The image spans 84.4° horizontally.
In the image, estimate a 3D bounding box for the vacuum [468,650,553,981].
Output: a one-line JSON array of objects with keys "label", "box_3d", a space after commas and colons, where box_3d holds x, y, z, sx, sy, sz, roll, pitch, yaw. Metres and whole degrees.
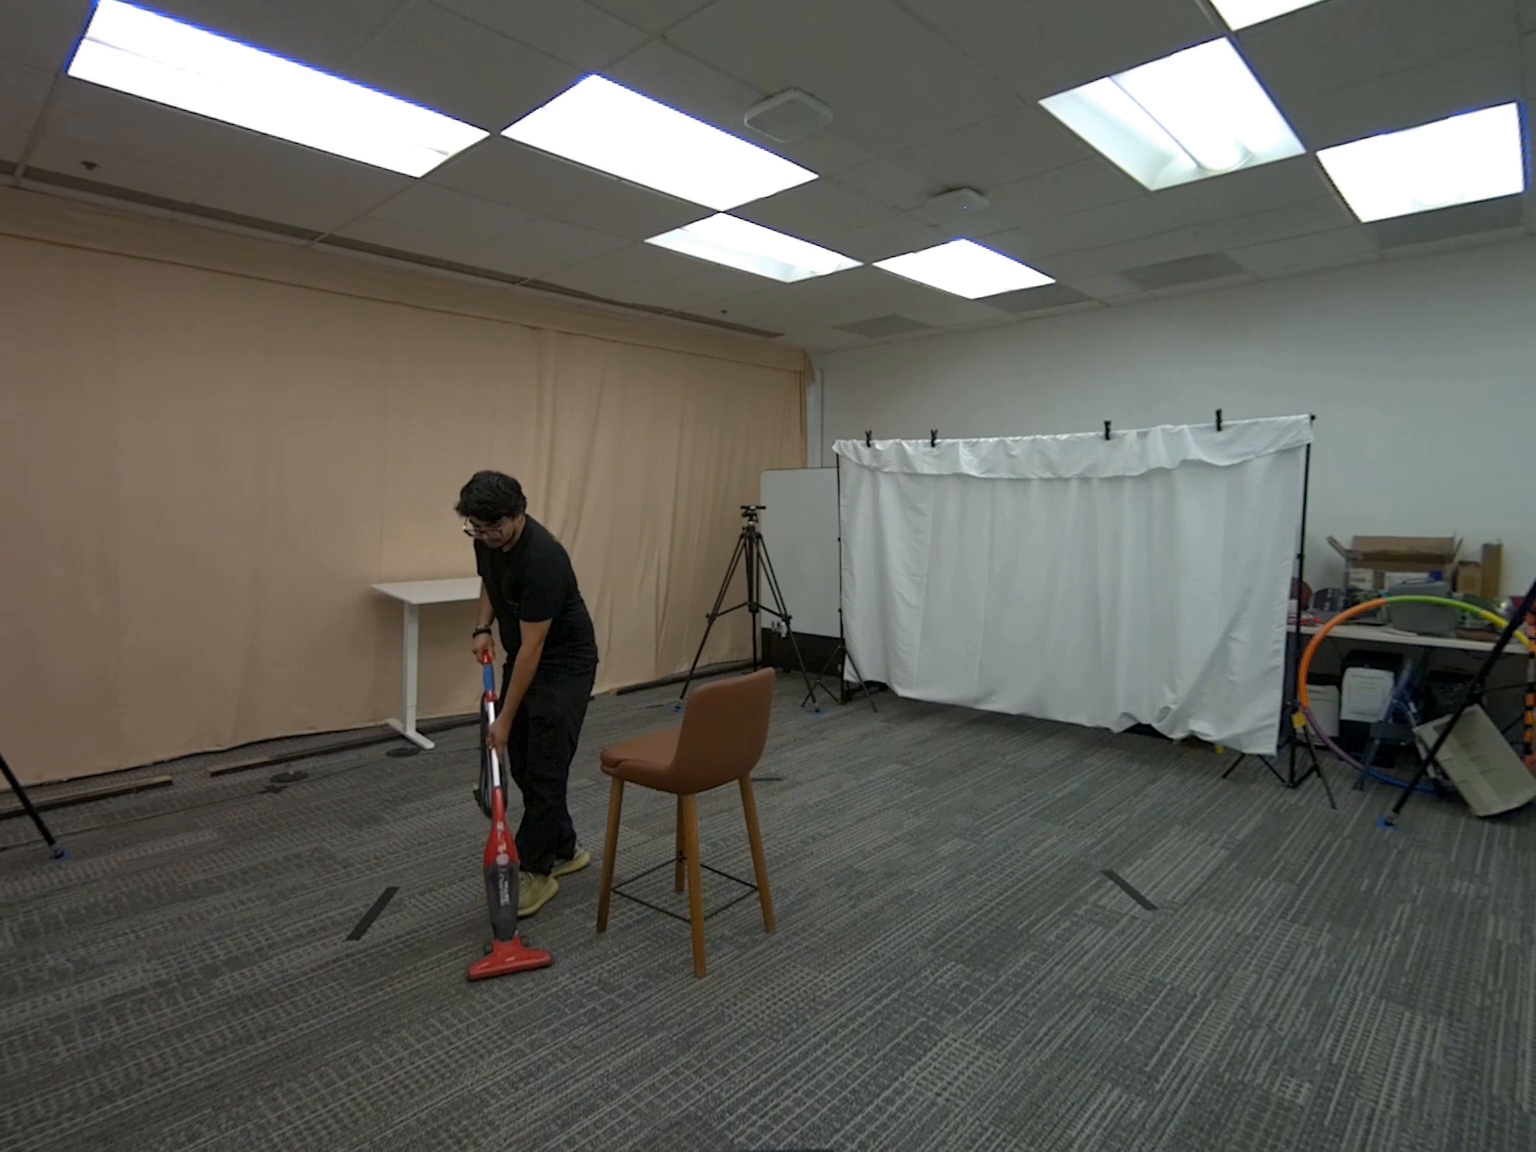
[{"label": "vacuum", "box_3d": [-0.899, 0.718, 2.812, 0.246, 1.072, 0.145, 2, -32, -27]}]
